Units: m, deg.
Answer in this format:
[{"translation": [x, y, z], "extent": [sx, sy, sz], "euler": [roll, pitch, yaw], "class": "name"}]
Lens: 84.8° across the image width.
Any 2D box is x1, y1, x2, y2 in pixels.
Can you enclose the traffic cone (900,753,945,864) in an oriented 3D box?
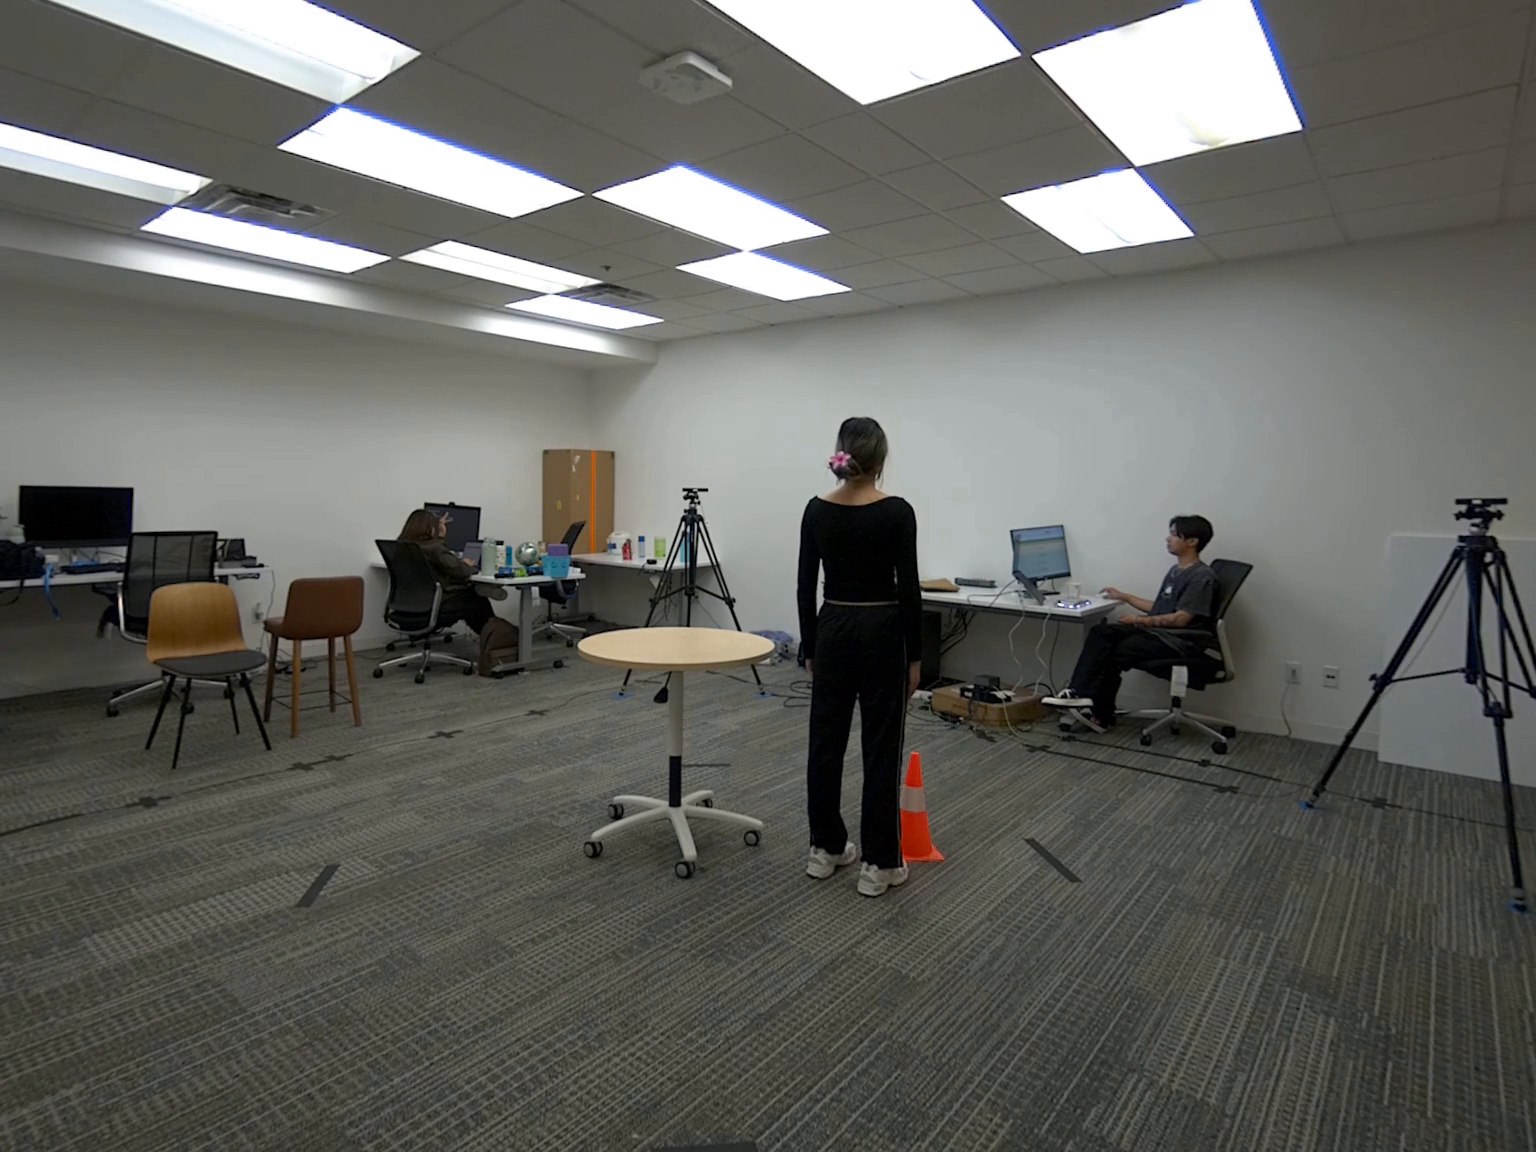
[{"translation": [0.555, 0.881, 3.327], "extent": [0.204, 0.383, 0.205], "euler": [-1, 2, -5], "class": "traffic cone"}]
